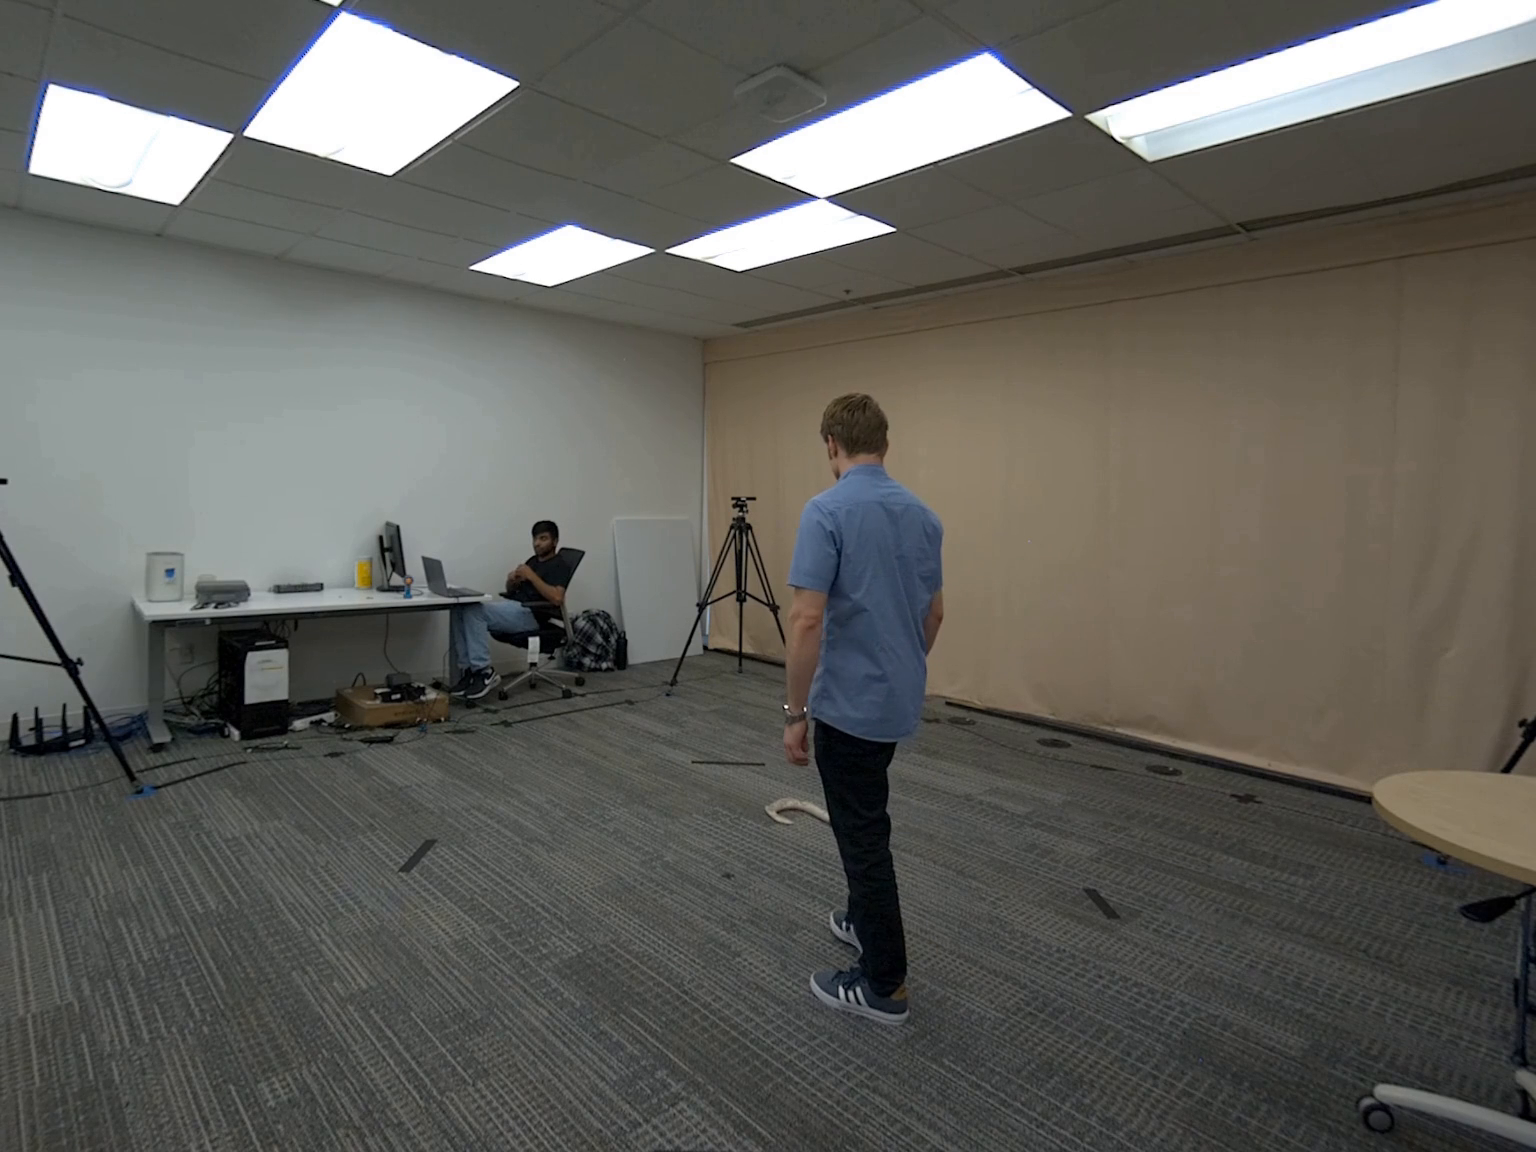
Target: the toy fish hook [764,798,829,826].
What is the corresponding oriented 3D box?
[{"bbox_3d":[0.199,1.054,3.630,0.519,0.048,0.220,6,14,43],"label":"toy fish hook"}]
